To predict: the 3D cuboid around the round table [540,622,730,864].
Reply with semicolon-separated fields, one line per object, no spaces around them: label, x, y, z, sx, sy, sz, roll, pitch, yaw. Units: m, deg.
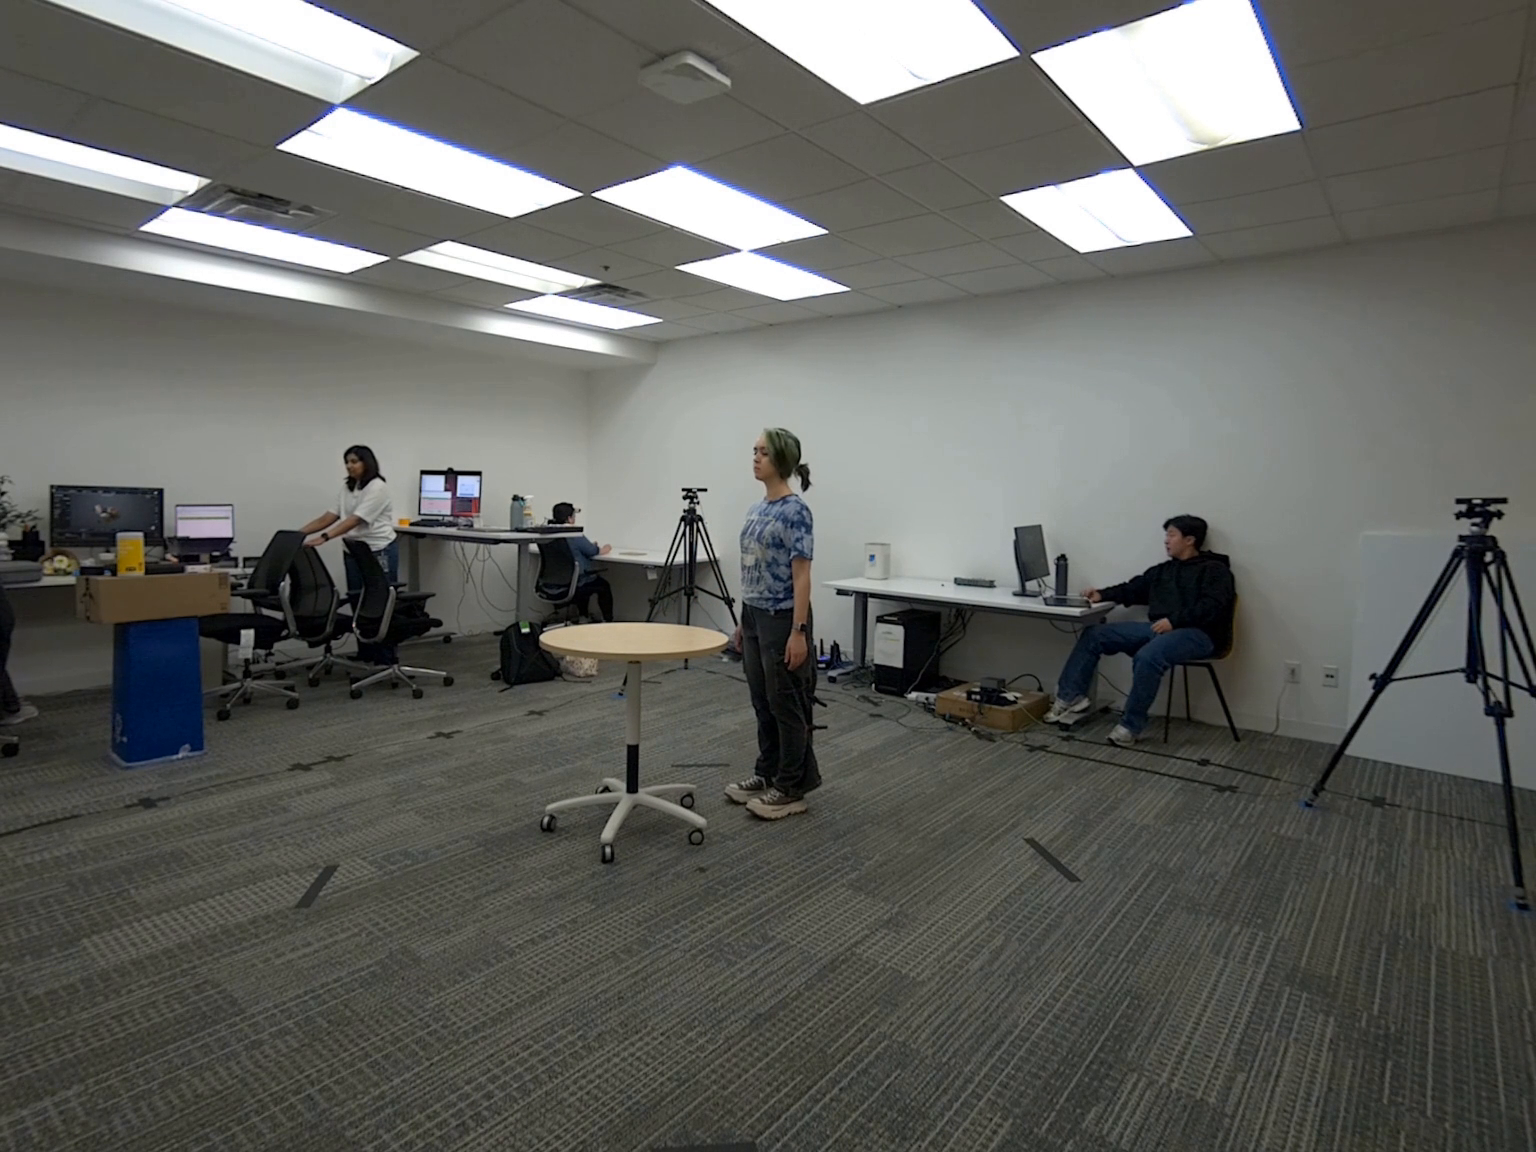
round table;-0.565;0.638;3.476;0.763;0.792;0.767;1;3;-2
